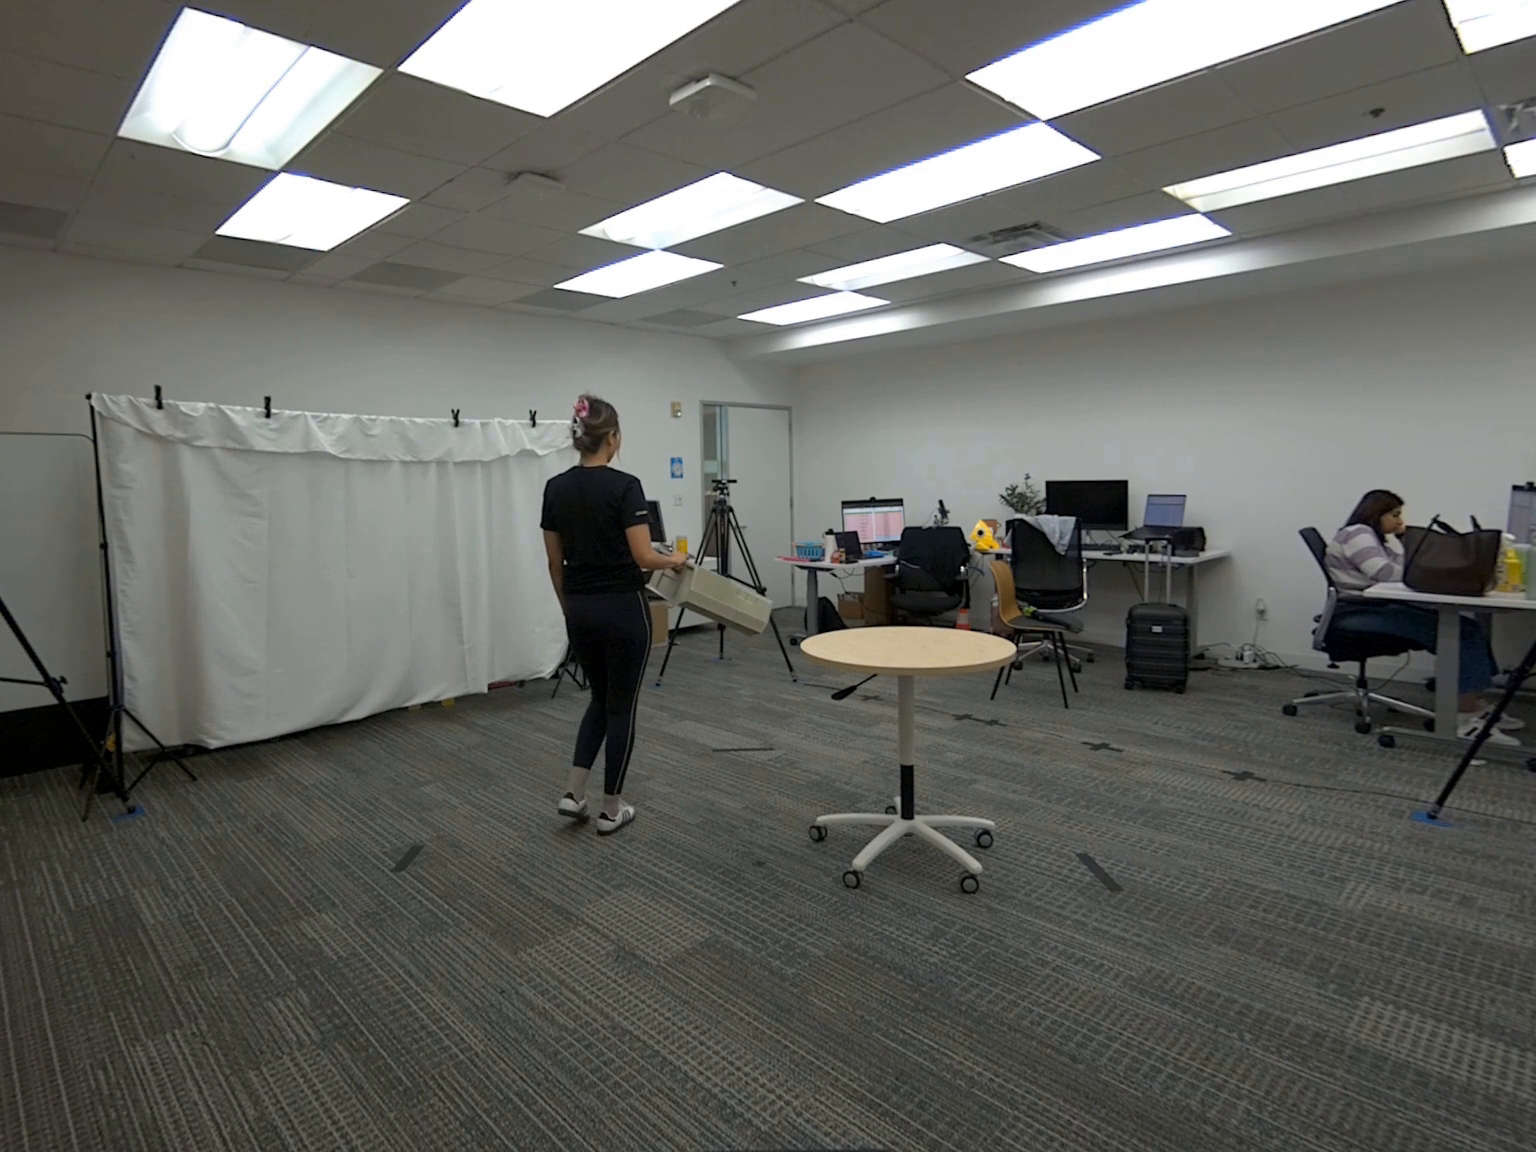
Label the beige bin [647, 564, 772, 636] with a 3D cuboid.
[{"bbox_3d":[-0.257,0.081,3.658,0.408,0.189,0.390,25,-1,-33],"label":"beige bin"}]
